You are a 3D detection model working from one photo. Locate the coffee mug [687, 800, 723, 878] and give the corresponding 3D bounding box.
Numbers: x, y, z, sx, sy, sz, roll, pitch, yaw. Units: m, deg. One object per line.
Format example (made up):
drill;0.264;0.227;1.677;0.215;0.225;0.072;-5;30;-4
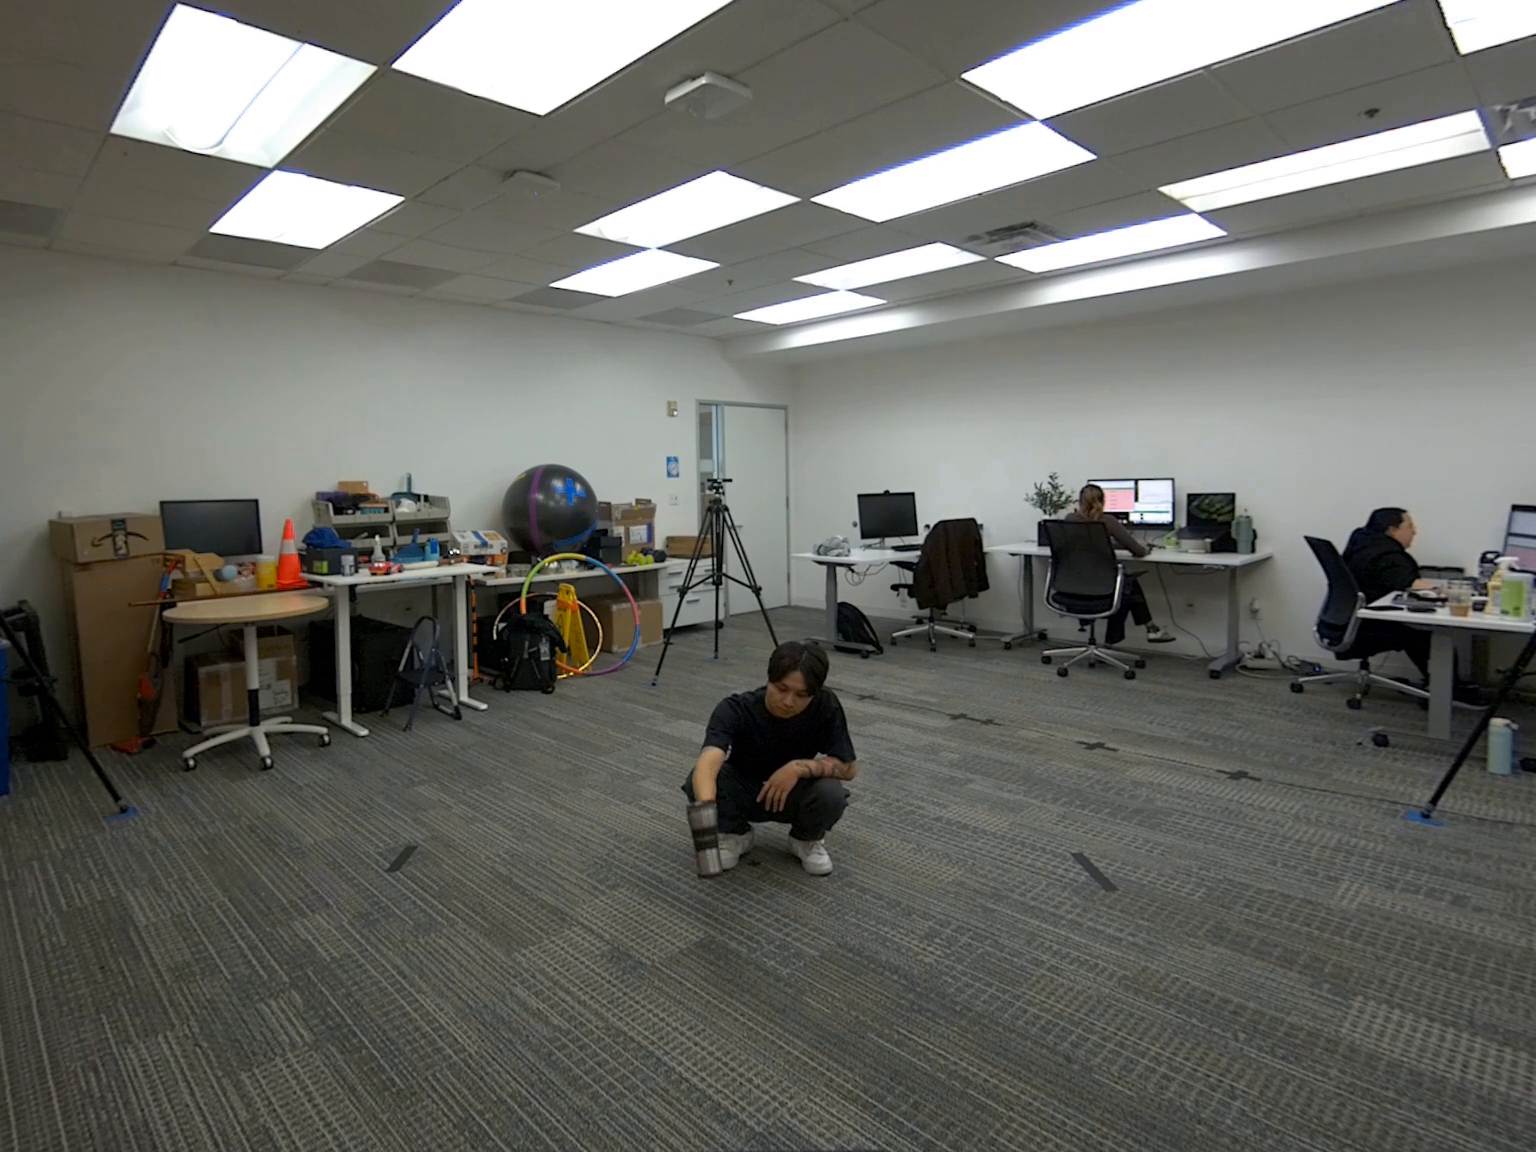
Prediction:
coffee mug;-0.163;0.738;2.427;0.089;0.207;0.118;-27;-25;37
